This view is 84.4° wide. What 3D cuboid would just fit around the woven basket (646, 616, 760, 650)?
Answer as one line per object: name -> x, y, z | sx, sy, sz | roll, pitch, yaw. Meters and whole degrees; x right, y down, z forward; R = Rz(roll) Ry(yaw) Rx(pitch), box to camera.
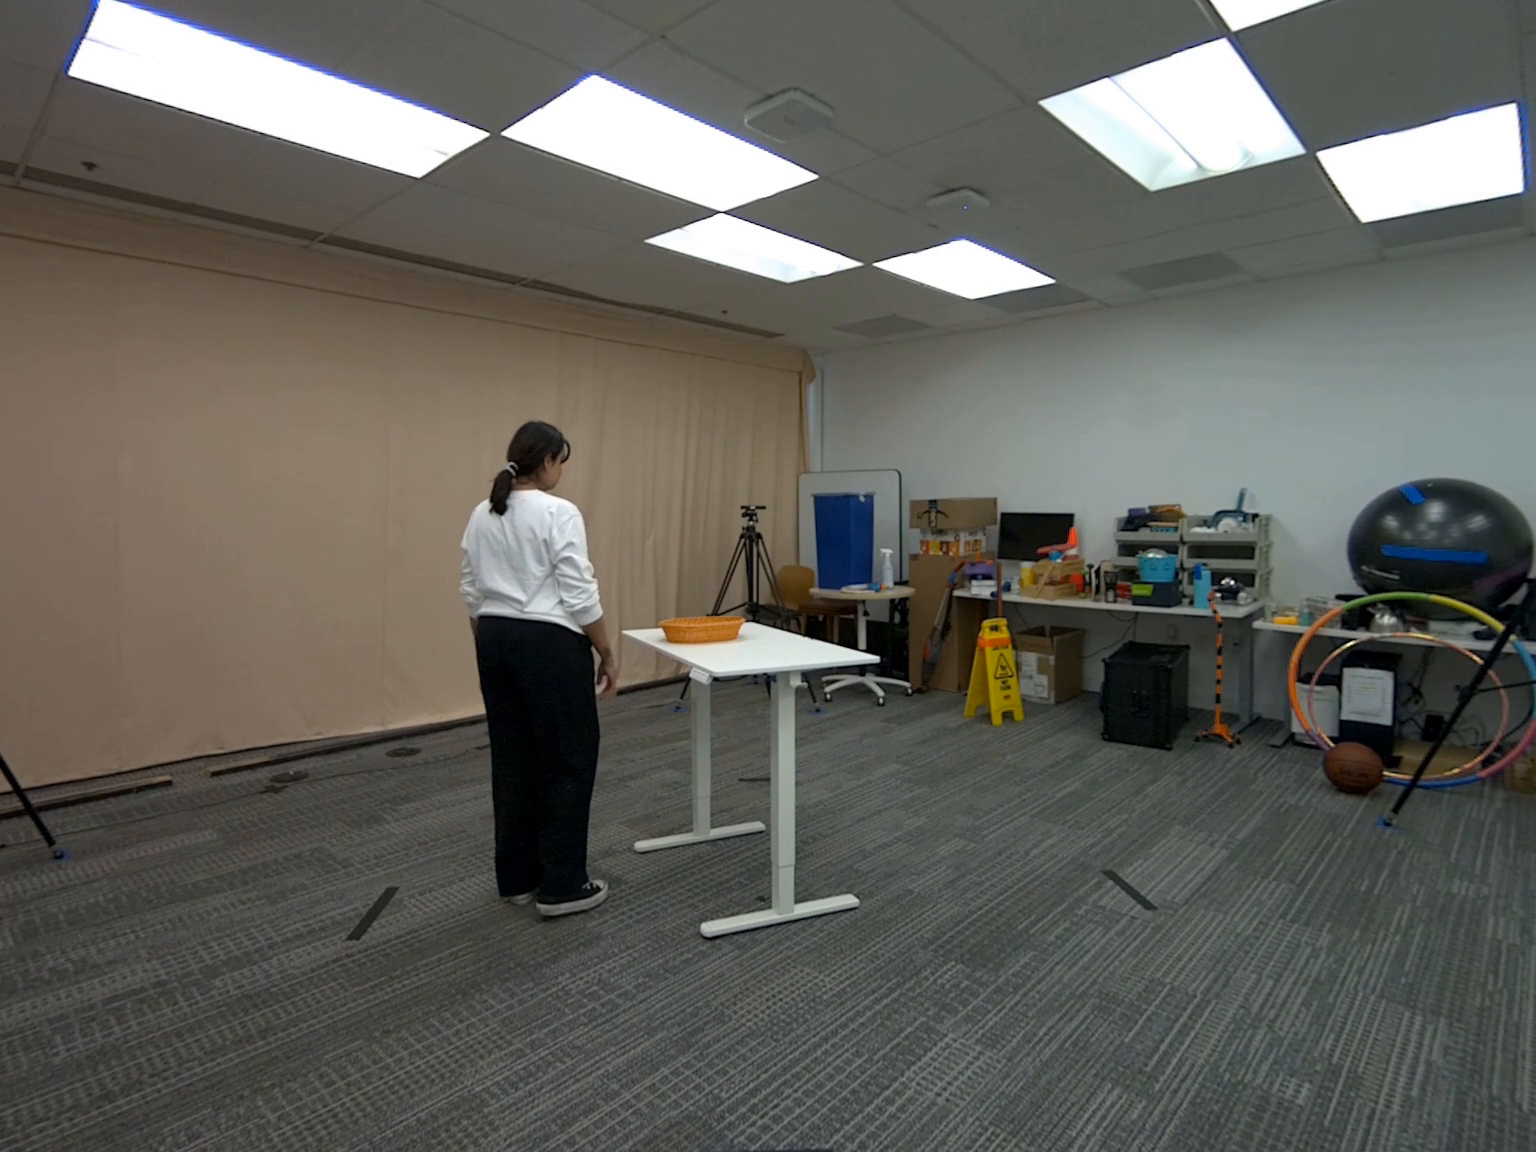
woven basket -> -0.251, 0.211, 3.226 | 0.340, 0.073, 0.260 | -3, 5, -35
